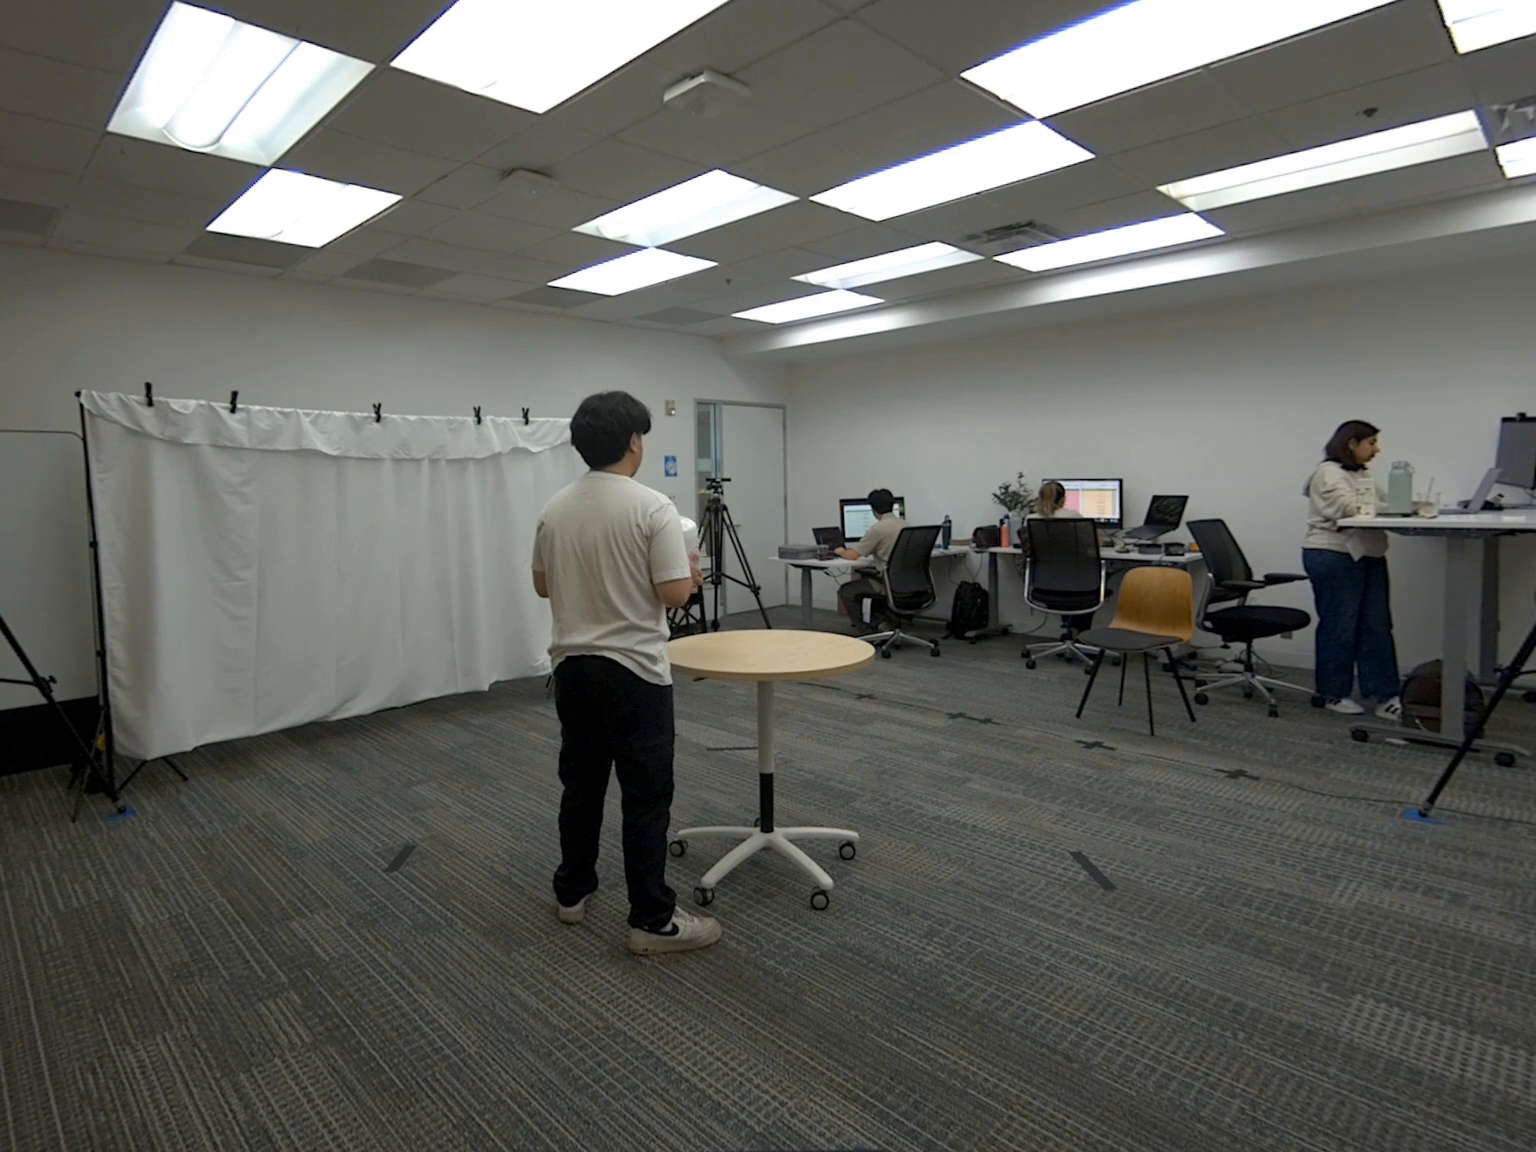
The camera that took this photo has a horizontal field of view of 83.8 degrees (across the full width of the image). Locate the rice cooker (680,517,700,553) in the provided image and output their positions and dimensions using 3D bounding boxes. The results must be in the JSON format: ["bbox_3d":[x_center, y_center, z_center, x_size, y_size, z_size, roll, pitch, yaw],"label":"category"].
[{"bbox_3d":[-0.327,-0.096,2.864,0.223,0.229,0.218,2,16,27],"label":"rice cooker"}]
